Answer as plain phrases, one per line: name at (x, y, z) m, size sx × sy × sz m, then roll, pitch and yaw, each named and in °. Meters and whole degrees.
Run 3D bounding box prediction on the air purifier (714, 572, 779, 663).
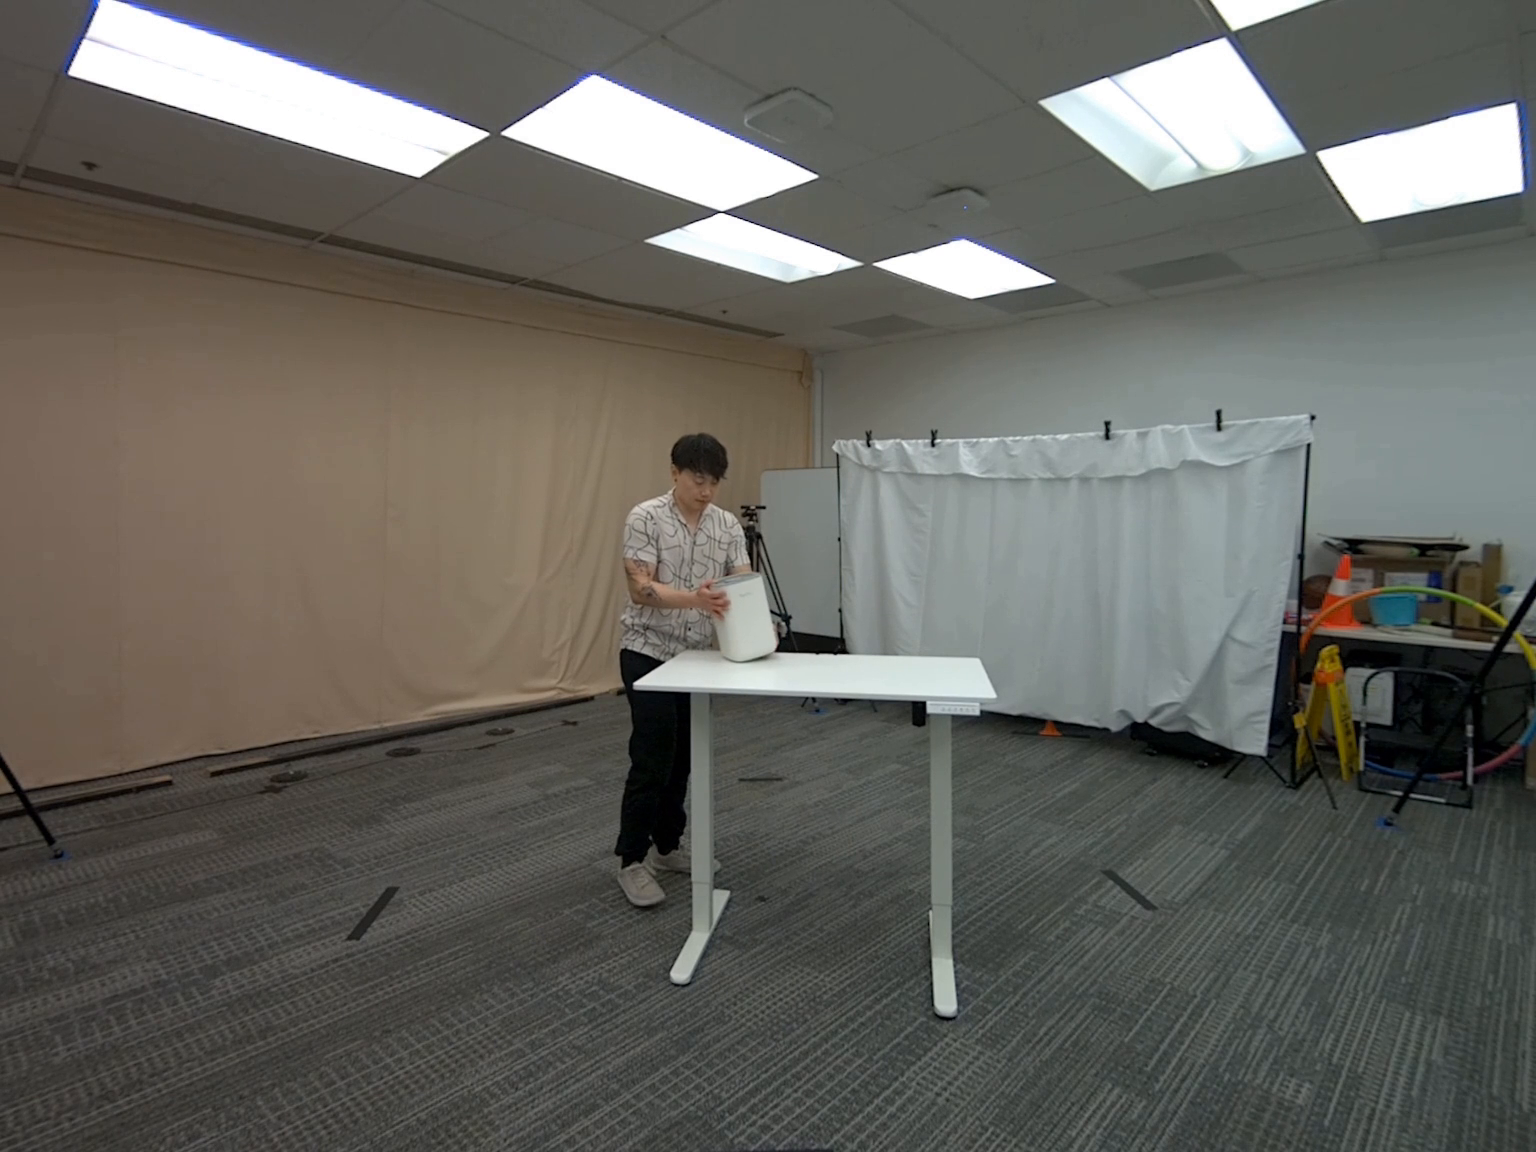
air purifier at (-0.086, 0.142, 2.802) m, size 0.168 × 0.264 × 0.175 m, roll -13°, pitch 6°, yaw -17°
